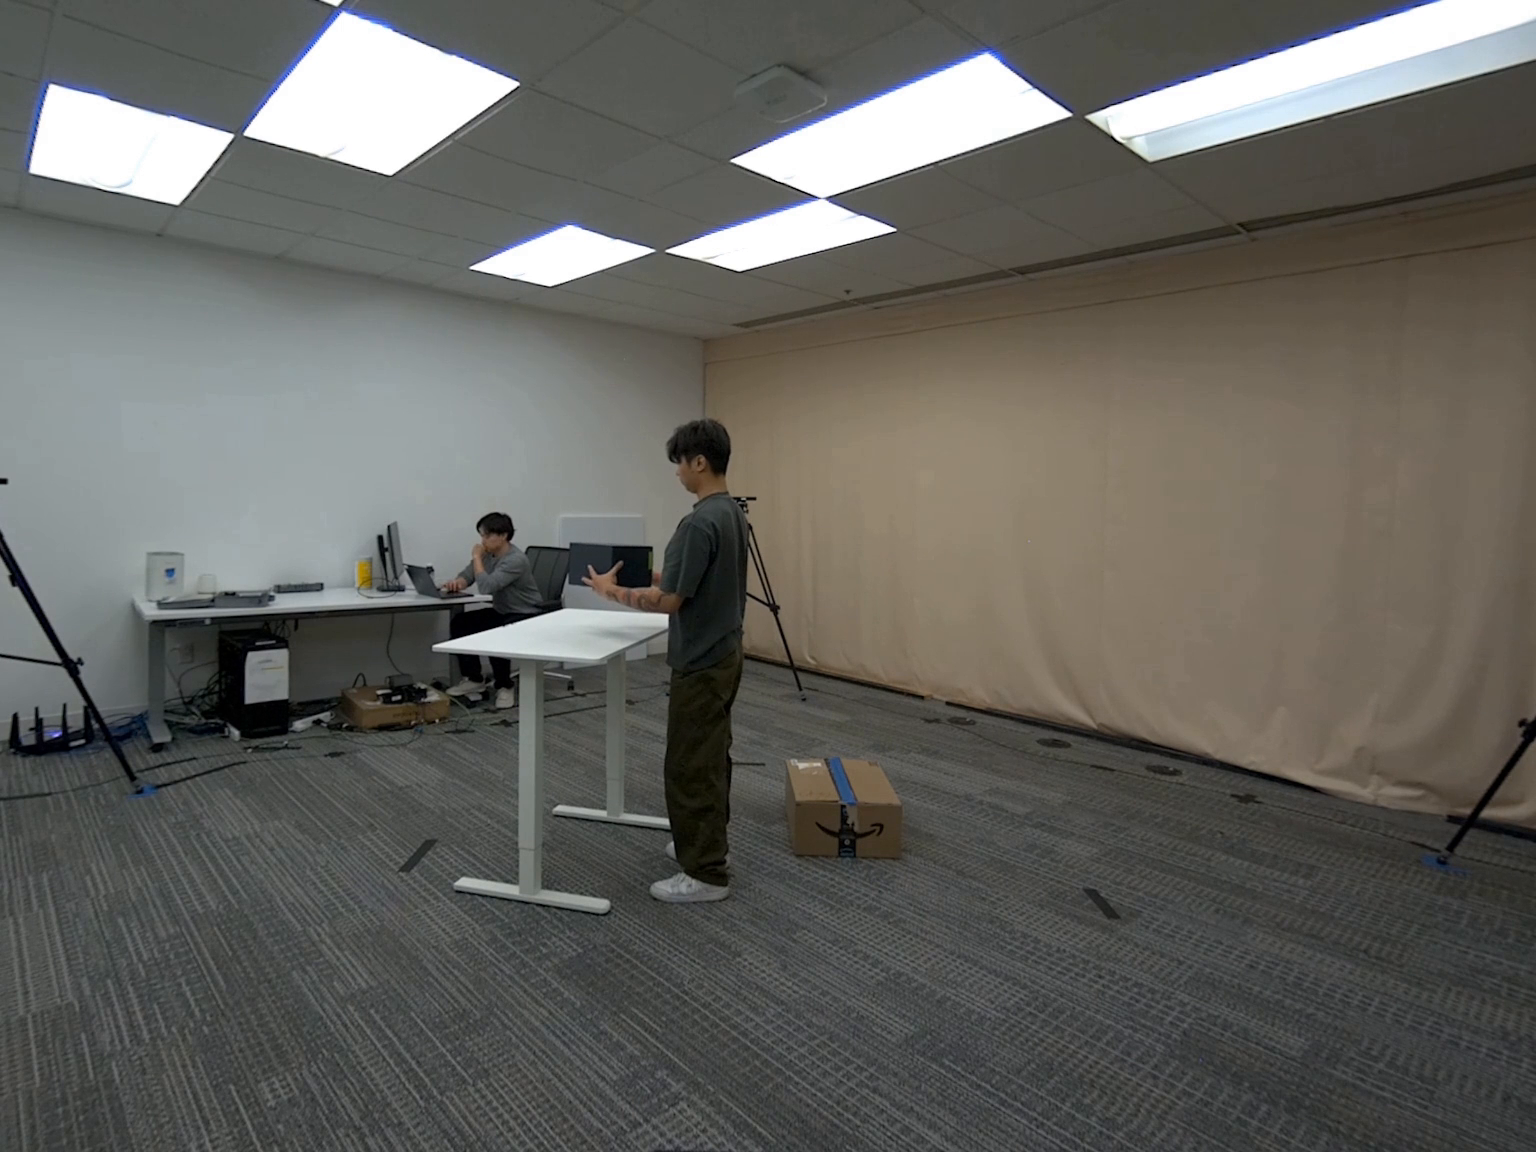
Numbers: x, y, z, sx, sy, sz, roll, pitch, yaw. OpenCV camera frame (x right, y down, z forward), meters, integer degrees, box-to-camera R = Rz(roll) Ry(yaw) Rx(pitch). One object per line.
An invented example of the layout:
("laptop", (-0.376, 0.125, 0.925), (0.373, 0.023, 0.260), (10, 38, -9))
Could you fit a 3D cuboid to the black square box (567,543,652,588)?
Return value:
("black square box", (-0.582, -0.040, 3.115), (0.233, 0.156, 0.212), (5, 3, 35))
